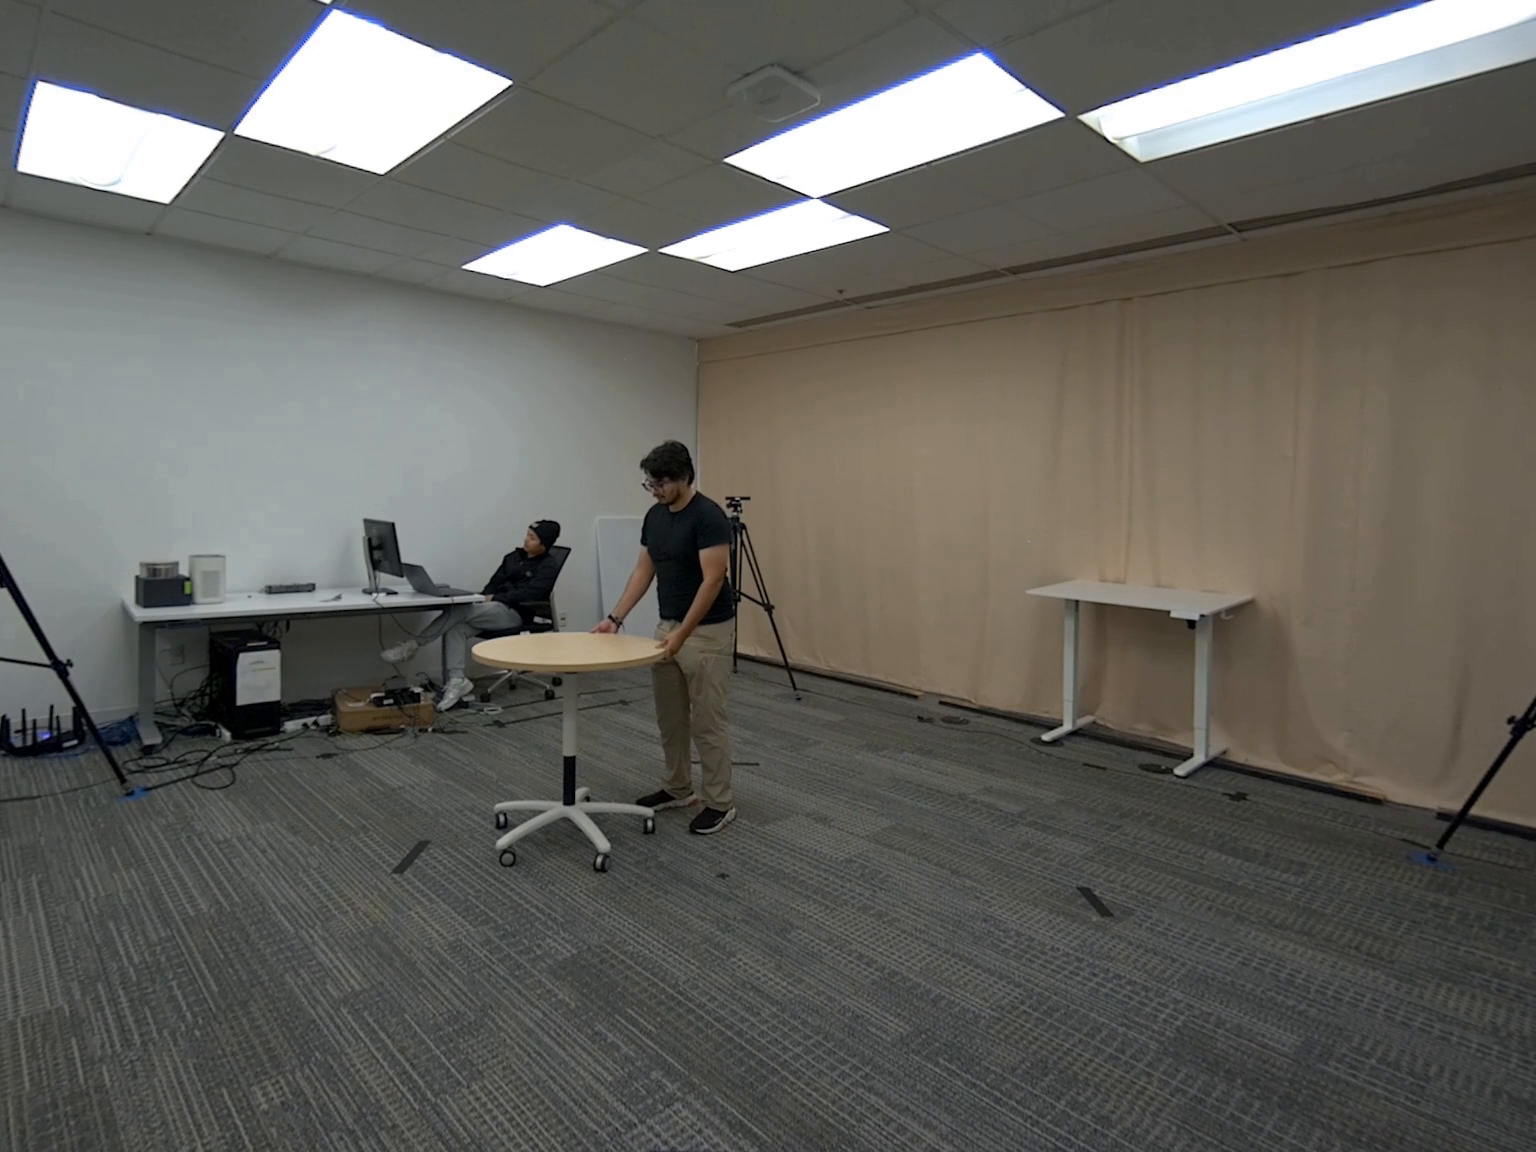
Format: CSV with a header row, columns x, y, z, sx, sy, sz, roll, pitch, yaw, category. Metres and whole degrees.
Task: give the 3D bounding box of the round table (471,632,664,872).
x,y,z,sx,sy,sz,roll,pitch,yaw,category
-0.818,0.672,3.402,0.784,0.784,0.787,1,4,-1,round table
